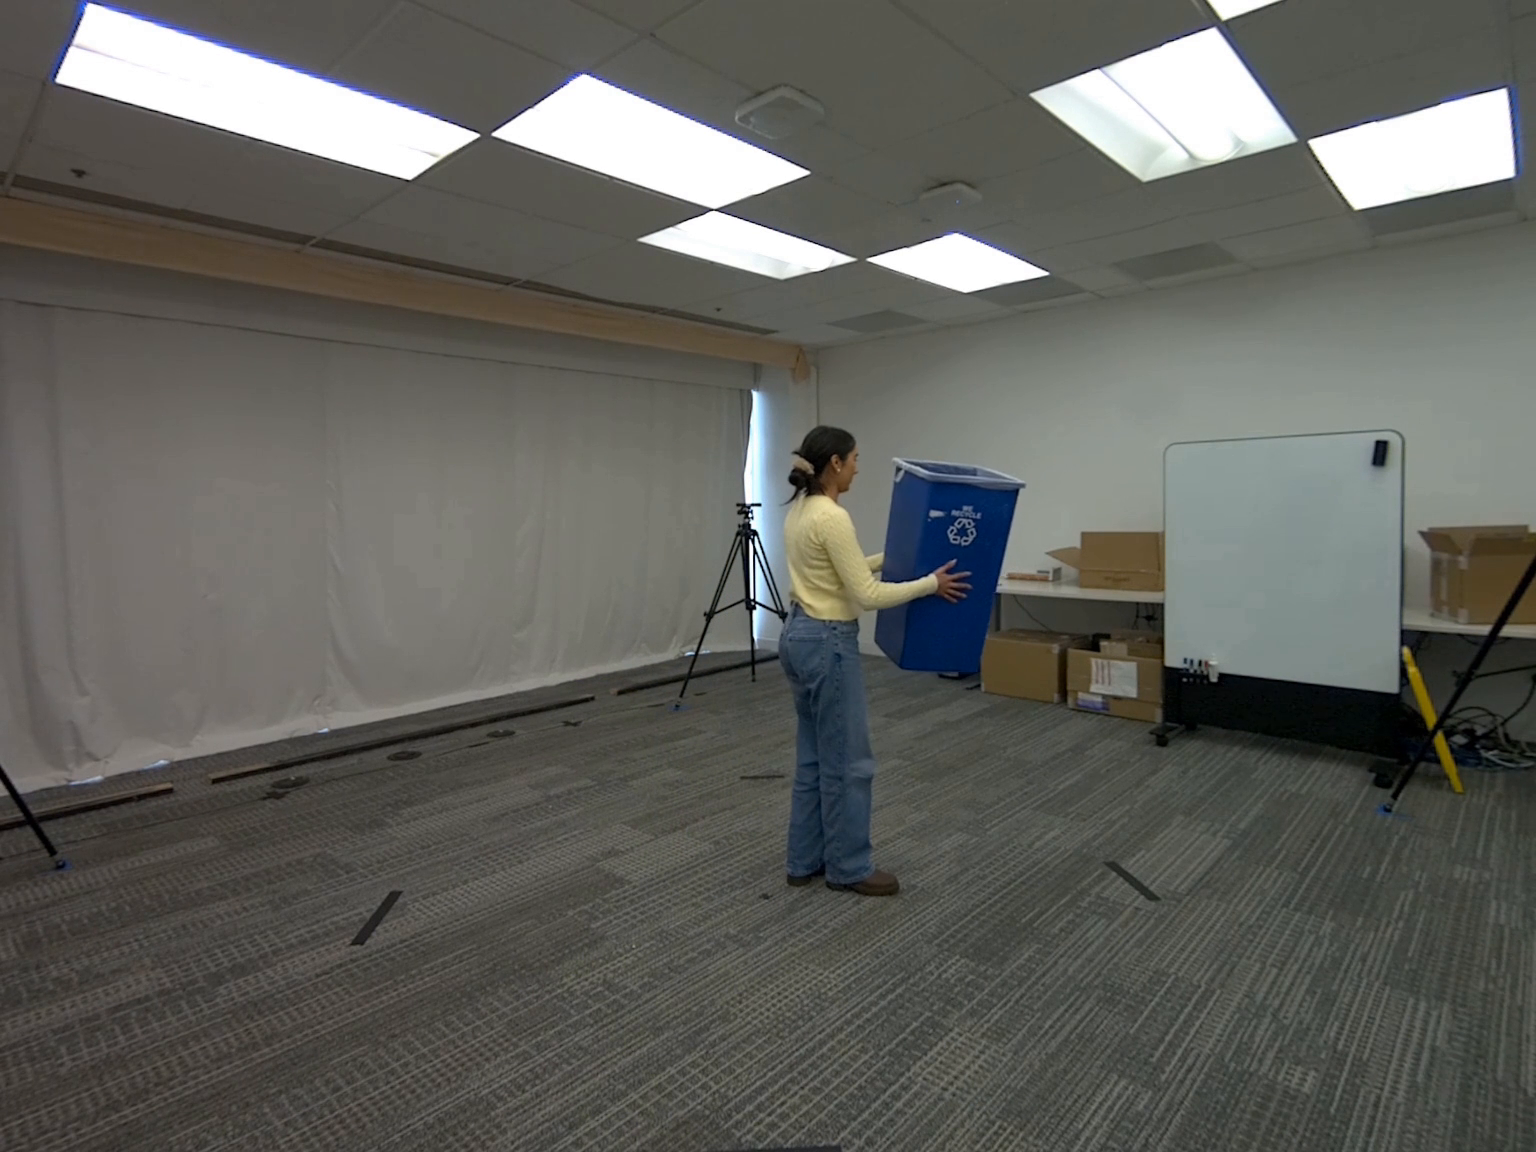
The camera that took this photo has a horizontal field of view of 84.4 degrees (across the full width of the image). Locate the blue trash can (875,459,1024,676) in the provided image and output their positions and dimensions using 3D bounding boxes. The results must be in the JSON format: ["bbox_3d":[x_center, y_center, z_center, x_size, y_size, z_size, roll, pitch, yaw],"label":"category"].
[{"bbox_3d":[0.642,-0.042,3.083,0.369,0.708,0.386,3,15,-13],"label":"blue trash can"}]
